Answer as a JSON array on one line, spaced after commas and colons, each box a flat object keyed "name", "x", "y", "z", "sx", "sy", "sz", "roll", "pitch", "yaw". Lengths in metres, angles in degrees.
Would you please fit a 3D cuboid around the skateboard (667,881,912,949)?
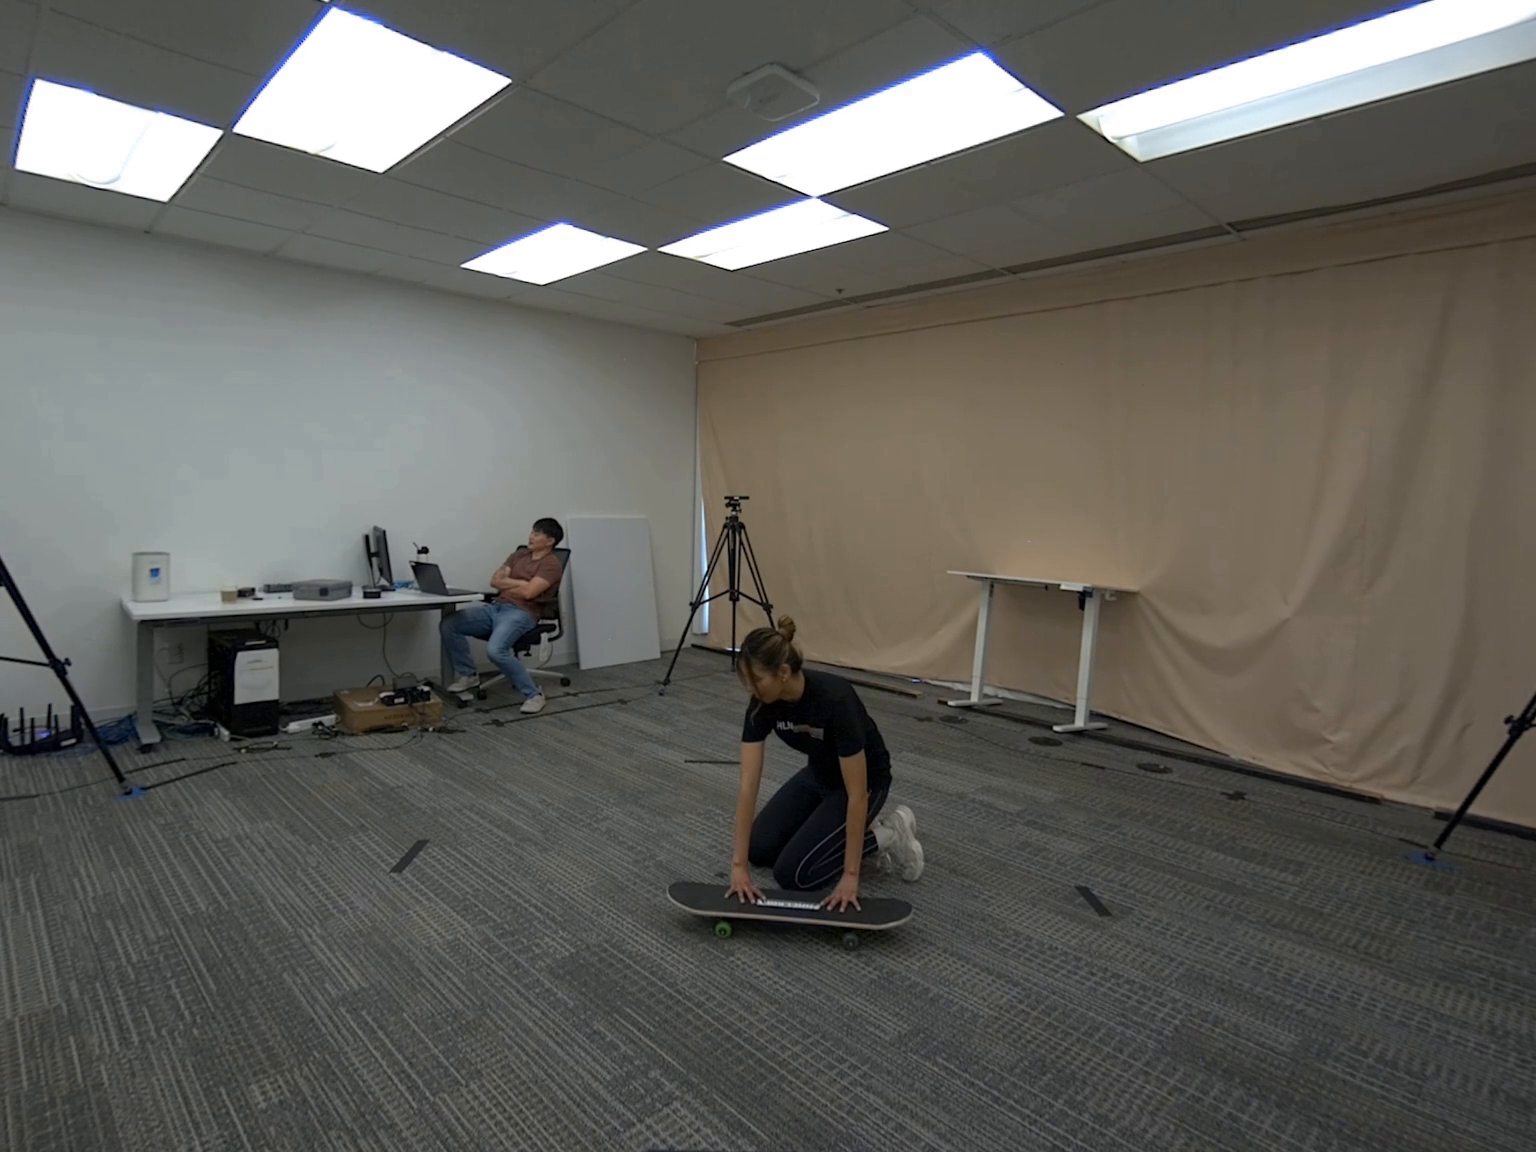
[{"name": "skateboard", "x": 0.054, "y": 1.084, "z": 2.708, "sx": 0.790, "sy": 0.110, "sz": 0.193, "roll": 2, "pitch": 4, "yaw": 6}]
